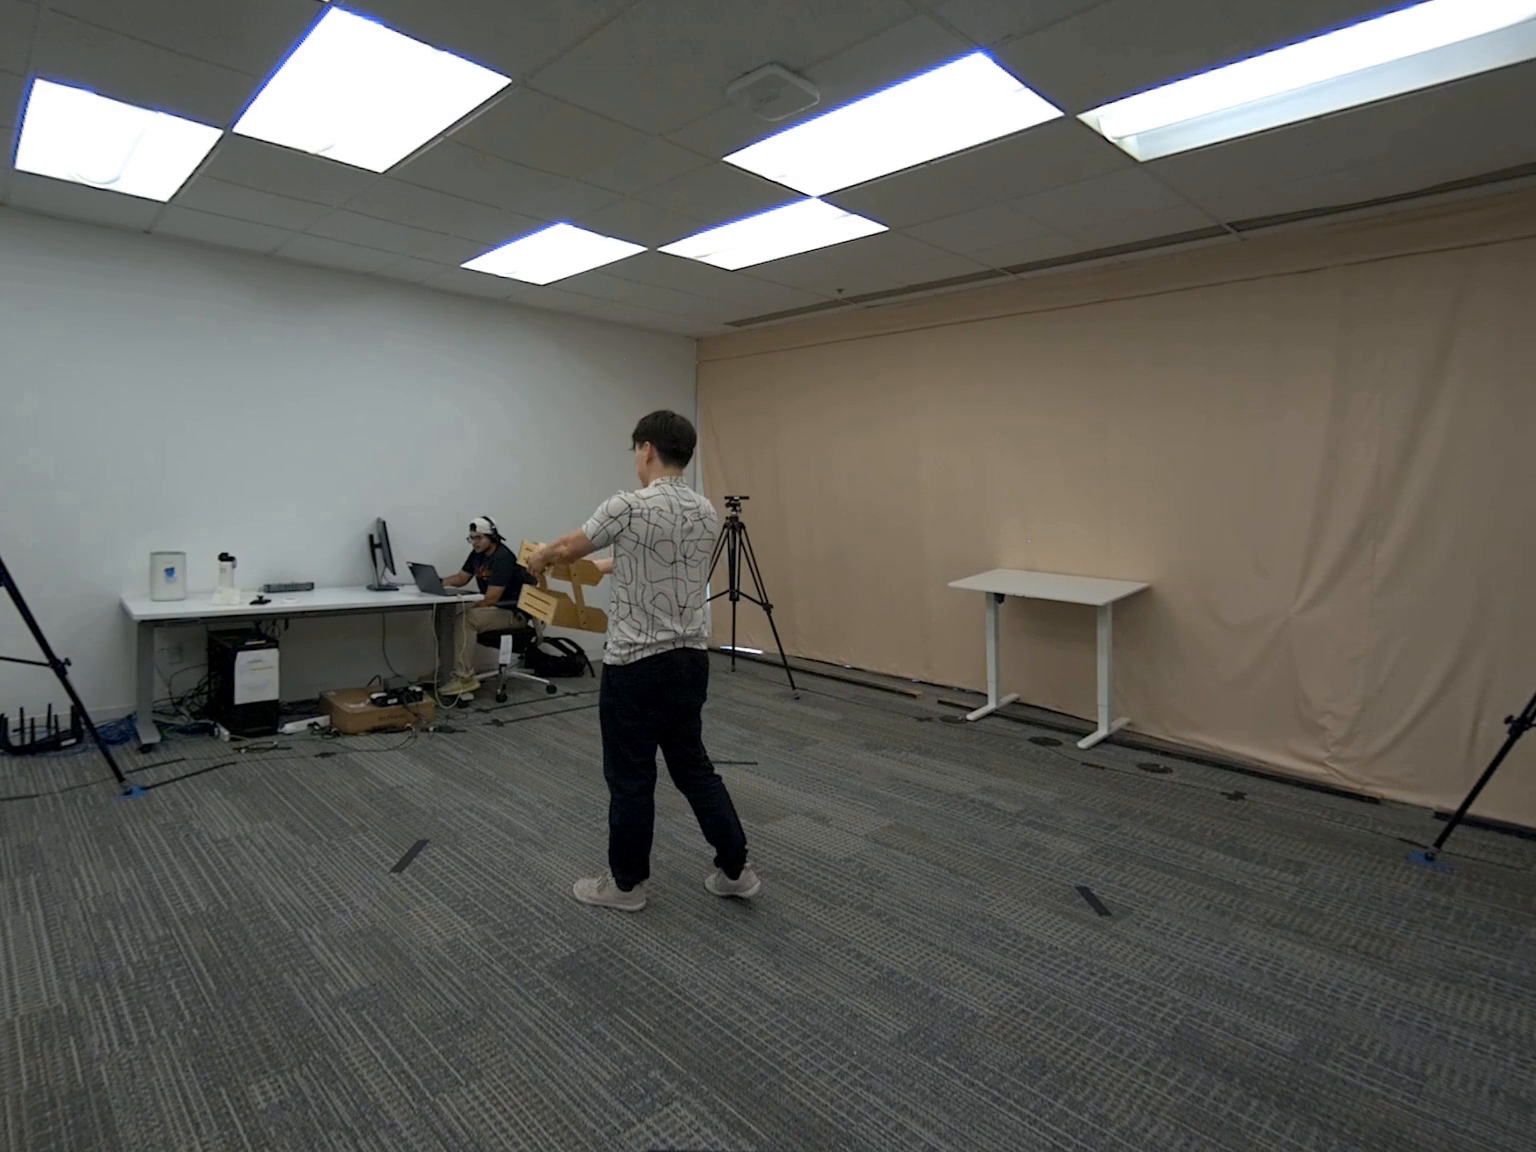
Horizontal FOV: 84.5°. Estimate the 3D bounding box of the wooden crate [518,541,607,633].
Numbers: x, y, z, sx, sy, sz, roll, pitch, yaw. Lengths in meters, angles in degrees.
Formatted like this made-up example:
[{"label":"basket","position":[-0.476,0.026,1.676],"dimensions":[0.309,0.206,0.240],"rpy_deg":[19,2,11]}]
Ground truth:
[{"label":"wooden crate","position":[-0.766,0.040,3.211],"dimensions":[0.294,0.273,0.334],"rpy_deg":[13,2,-41]}]
